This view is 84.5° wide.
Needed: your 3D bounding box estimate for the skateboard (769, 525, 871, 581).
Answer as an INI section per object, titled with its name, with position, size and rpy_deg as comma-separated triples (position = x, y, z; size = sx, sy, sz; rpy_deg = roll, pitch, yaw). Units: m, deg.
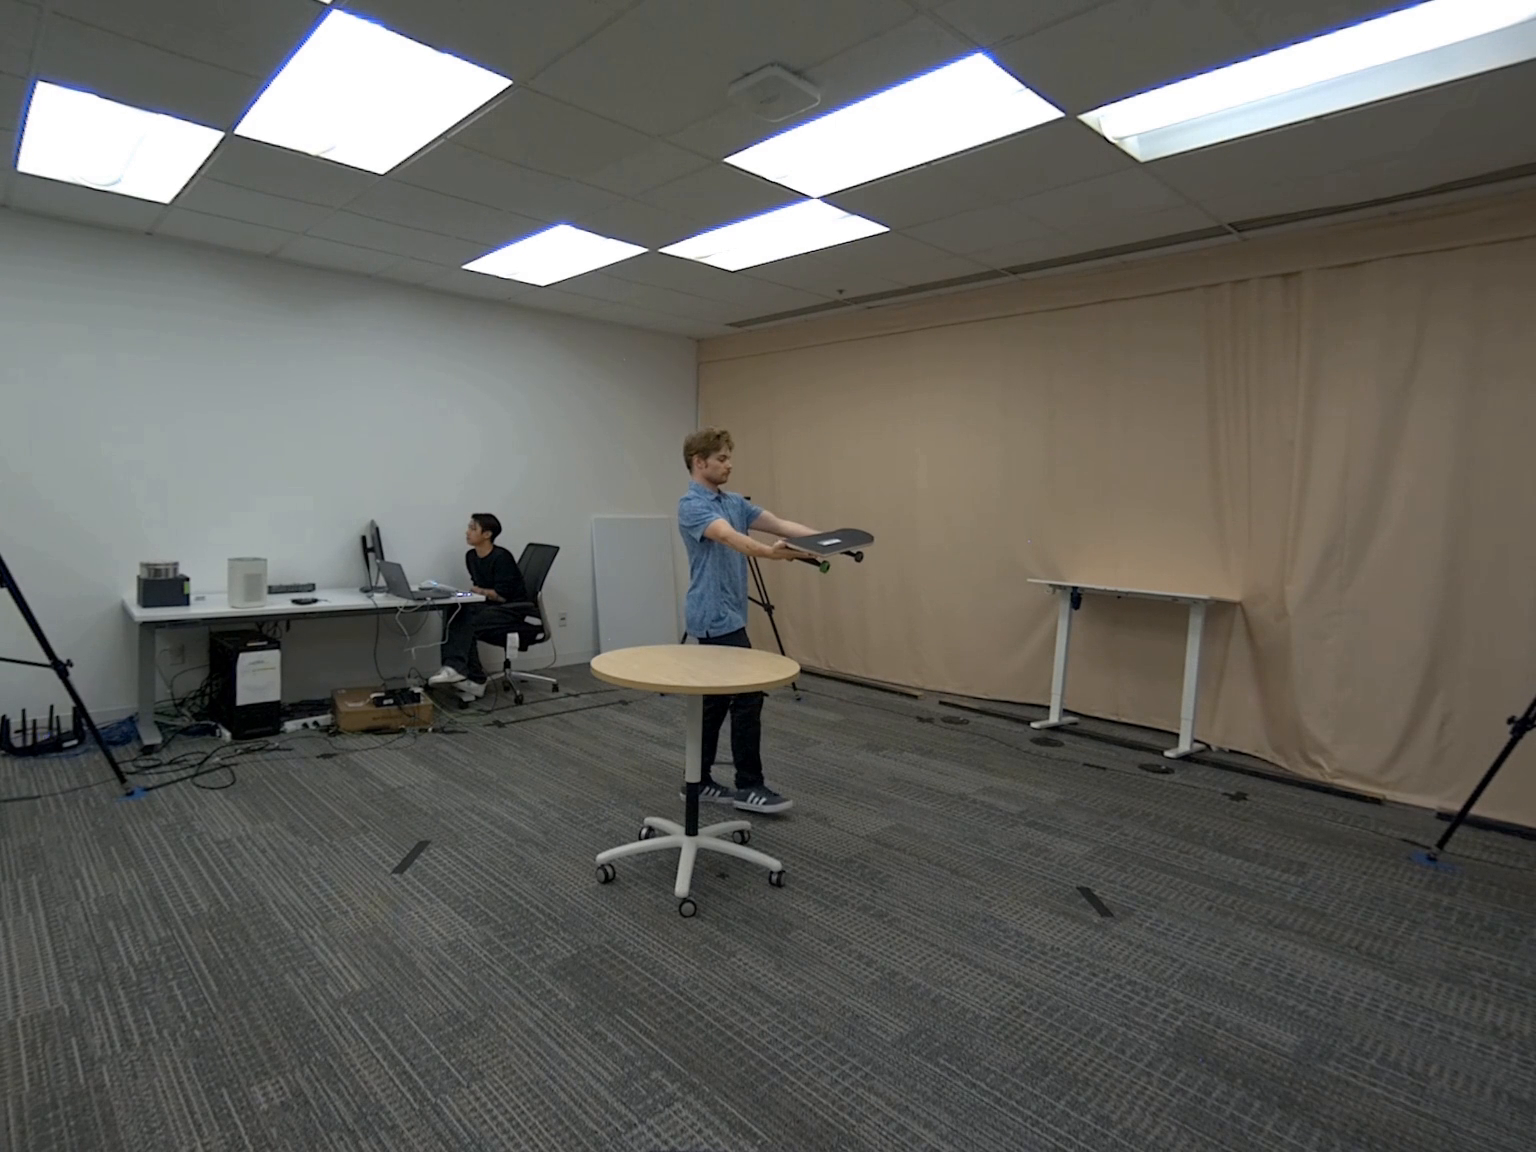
[skateboard]
position = 0.235, -0.112, 3.548
size = 0.197, 0.110, 0.776
rpy_deg = 19, 12, 16
